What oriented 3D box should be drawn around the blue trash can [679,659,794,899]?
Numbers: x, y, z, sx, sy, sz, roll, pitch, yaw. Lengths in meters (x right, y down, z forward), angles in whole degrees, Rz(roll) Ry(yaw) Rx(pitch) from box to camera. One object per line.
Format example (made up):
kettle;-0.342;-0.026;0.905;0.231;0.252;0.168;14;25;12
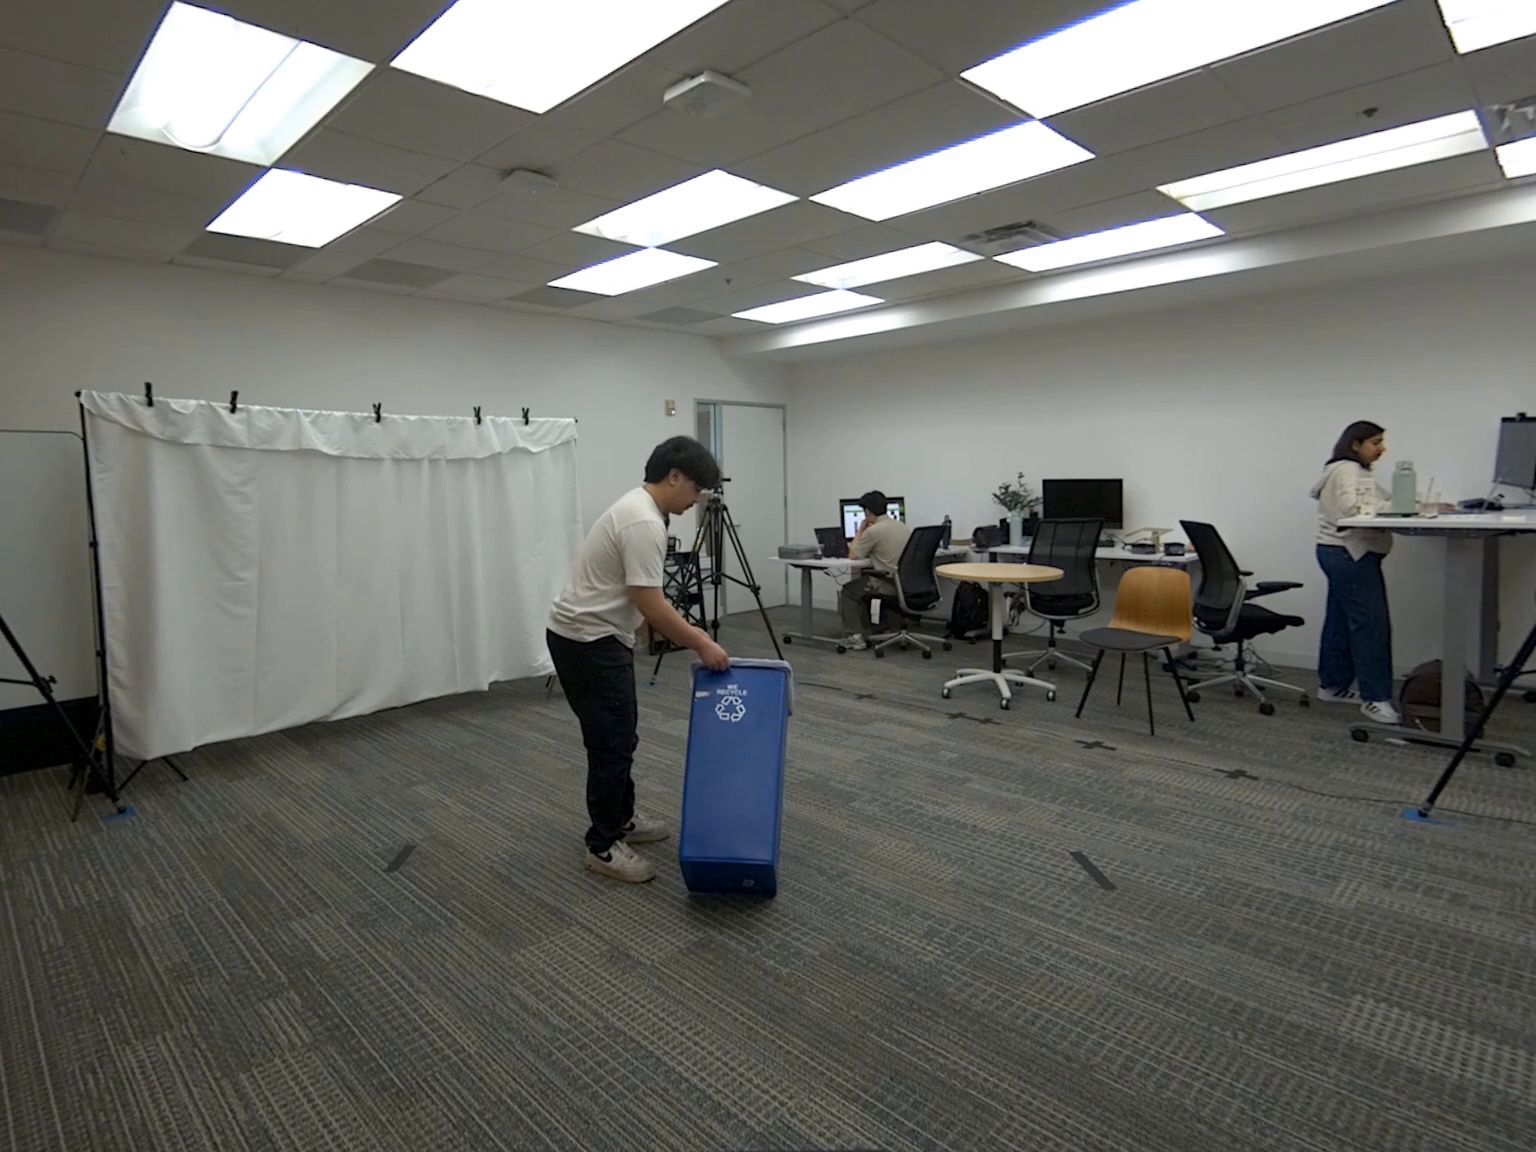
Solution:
blue trash can;-0.100;0.695;2.991;0.376;0.731;0.367;0;-39;4
